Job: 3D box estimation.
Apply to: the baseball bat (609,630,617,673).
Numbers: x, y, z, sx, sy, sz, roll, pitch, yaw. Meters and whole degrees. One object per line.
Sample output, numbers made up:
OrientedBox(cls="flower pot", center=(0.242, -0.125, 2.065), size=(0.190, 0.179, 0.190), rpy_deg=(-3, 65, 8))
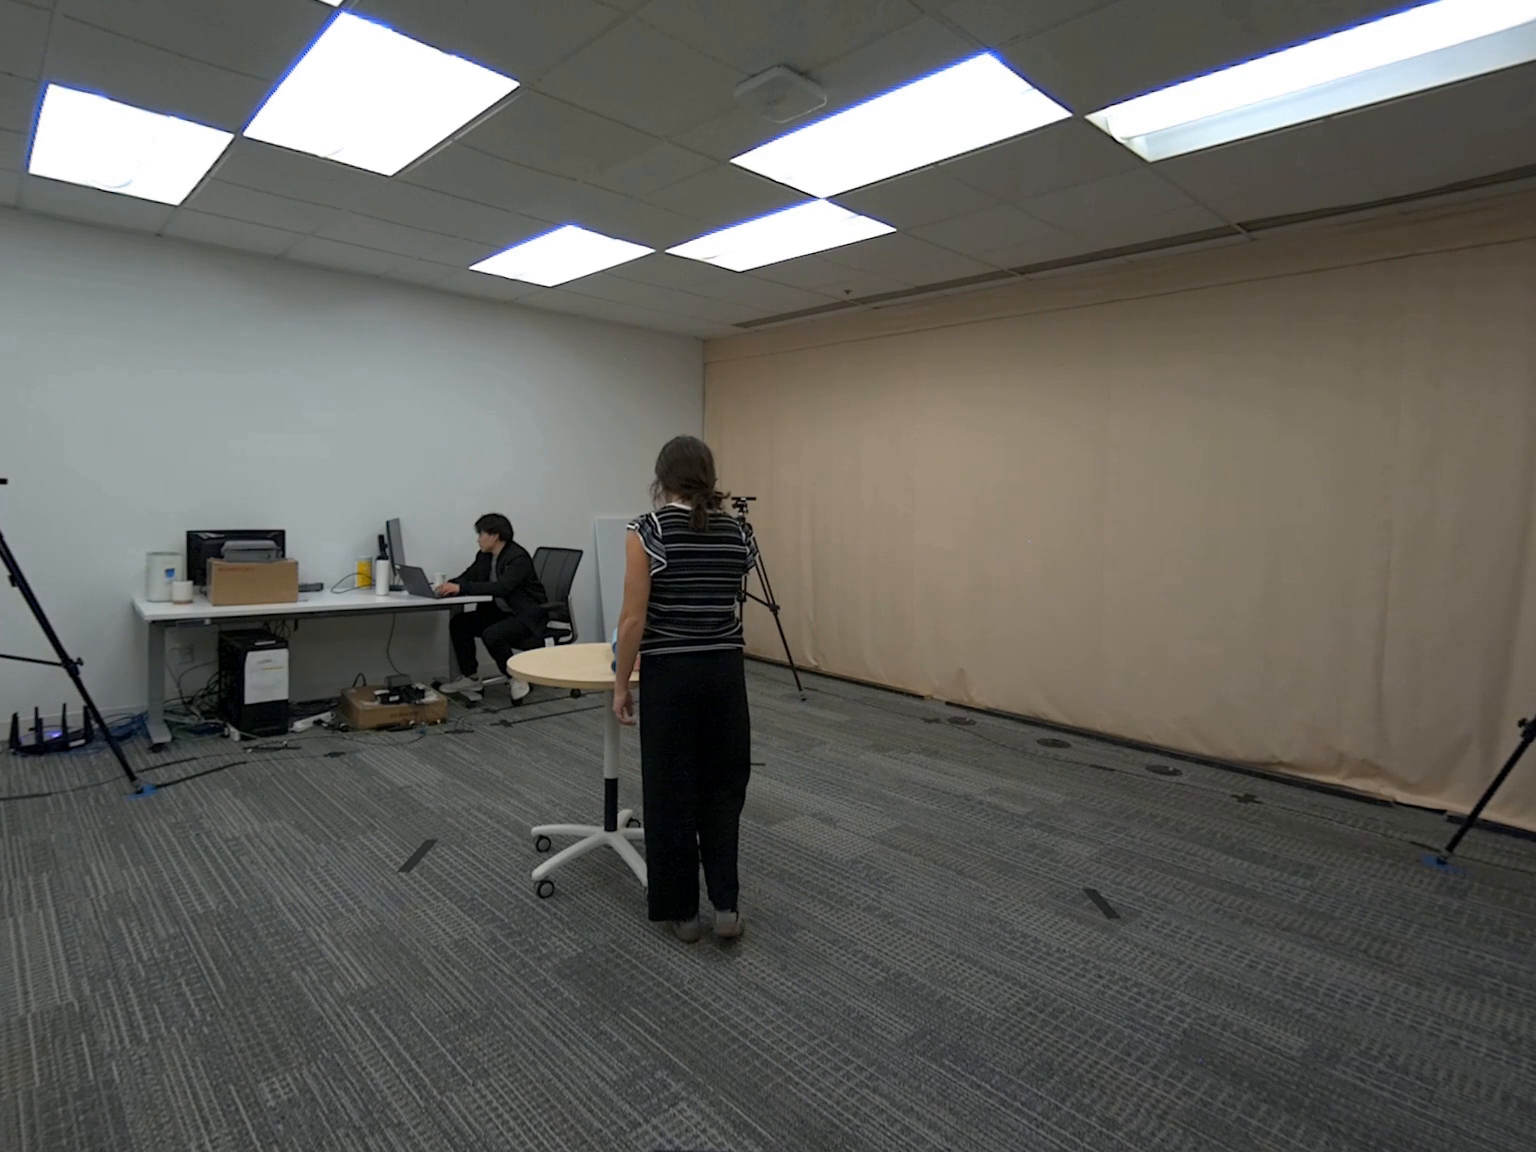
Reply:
OrientedBox(cls="baseball bat", center=(-0.555, 0.277, 3.123), size=(0.088, 0.088, 0.548), rpy_deg=(1, 8, -7))
